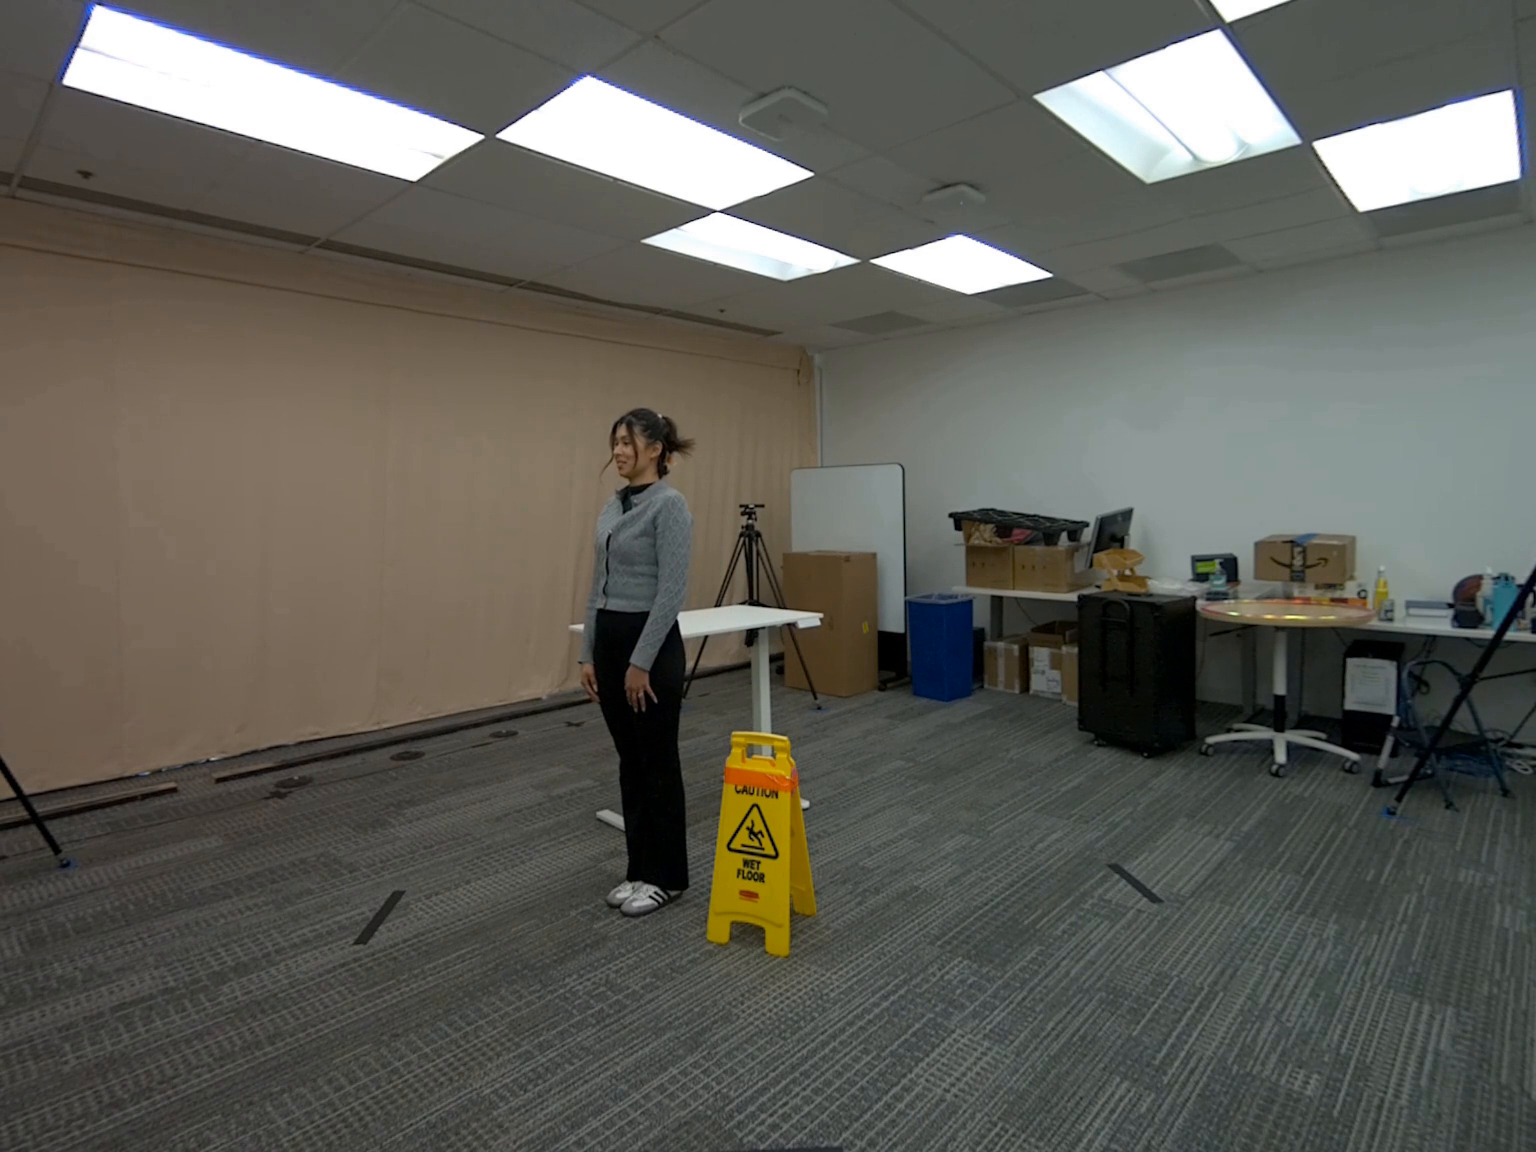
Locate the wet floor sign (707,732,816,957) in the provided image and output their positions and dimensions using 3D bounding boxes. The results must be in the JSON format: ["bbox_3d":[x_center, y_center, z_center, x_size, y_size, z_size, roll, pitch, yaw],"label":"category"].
[{"bbox_3d":[-0.020,0.834,2.754,0.289,0.644,0.283,-1,4,23],"label":"wet floor sign"}]
